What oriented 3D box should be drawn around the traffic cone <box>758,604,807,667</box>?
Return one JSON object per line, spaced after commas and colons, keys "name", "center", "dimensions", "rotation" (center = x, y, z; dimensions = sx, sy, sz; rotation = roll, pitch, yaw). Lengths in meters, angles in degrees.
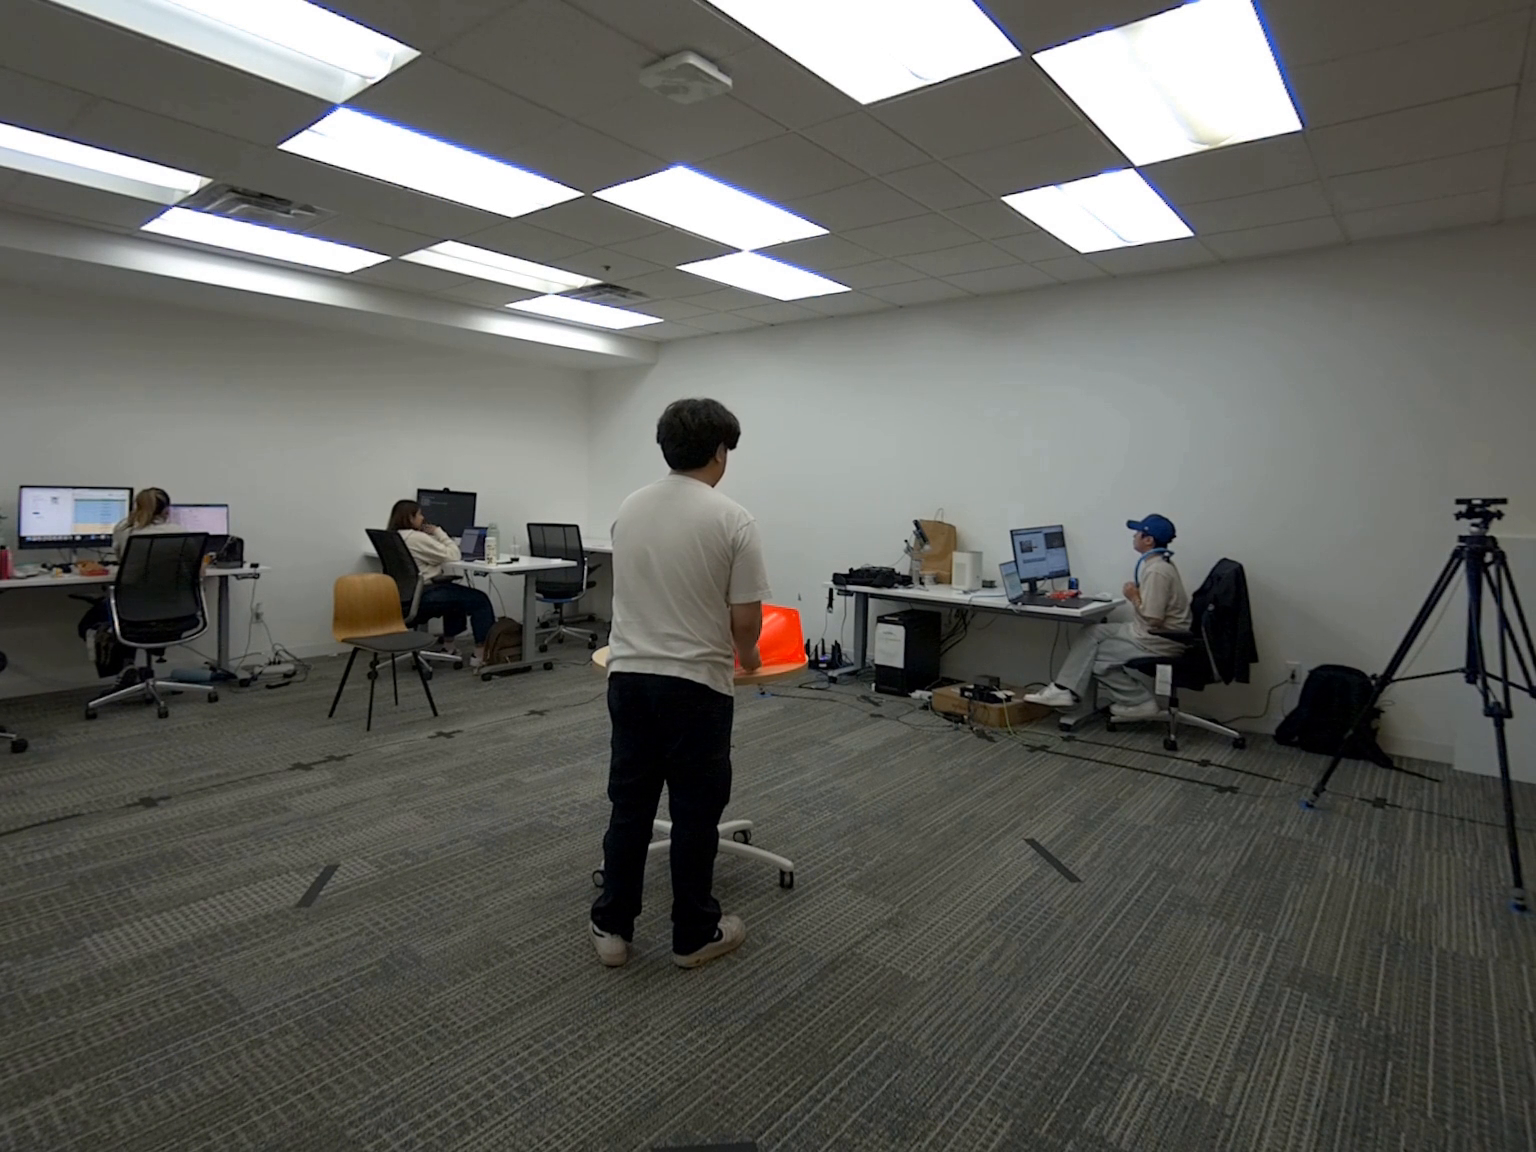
{"name": "traffic cone", "center": [-0.086, 0.253, 2.837], "dimensions": [0.210, 0.202, 0.377], "rotation": [7, 22, 43]}
